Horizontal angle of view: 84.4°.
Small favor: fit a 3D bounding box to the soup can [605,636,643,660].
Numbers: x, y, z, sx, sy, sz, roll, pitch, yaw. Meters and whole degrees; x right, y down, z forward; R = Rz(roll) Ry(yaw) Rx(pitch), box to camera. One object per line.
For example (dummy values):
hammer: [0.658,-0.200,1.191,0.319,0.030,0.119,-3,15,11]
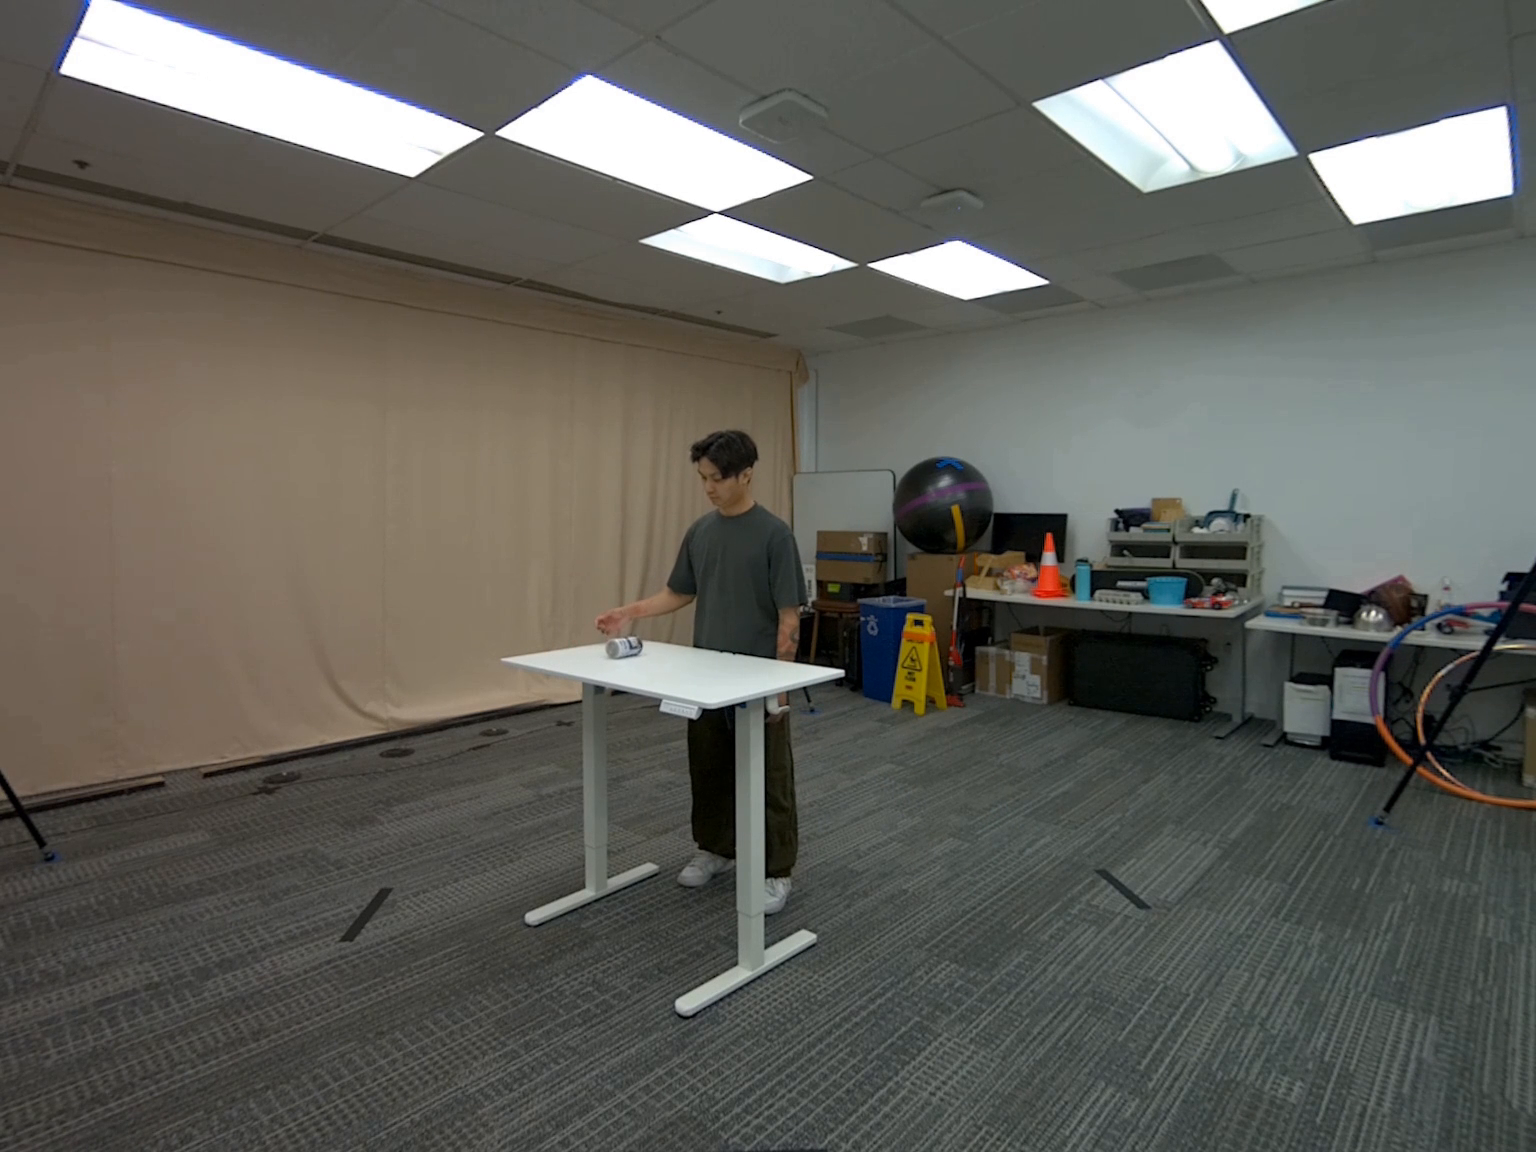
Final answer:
soup can: [-0.490,0.246,2.882,0.069,0.067,0.118,3,6,36]
